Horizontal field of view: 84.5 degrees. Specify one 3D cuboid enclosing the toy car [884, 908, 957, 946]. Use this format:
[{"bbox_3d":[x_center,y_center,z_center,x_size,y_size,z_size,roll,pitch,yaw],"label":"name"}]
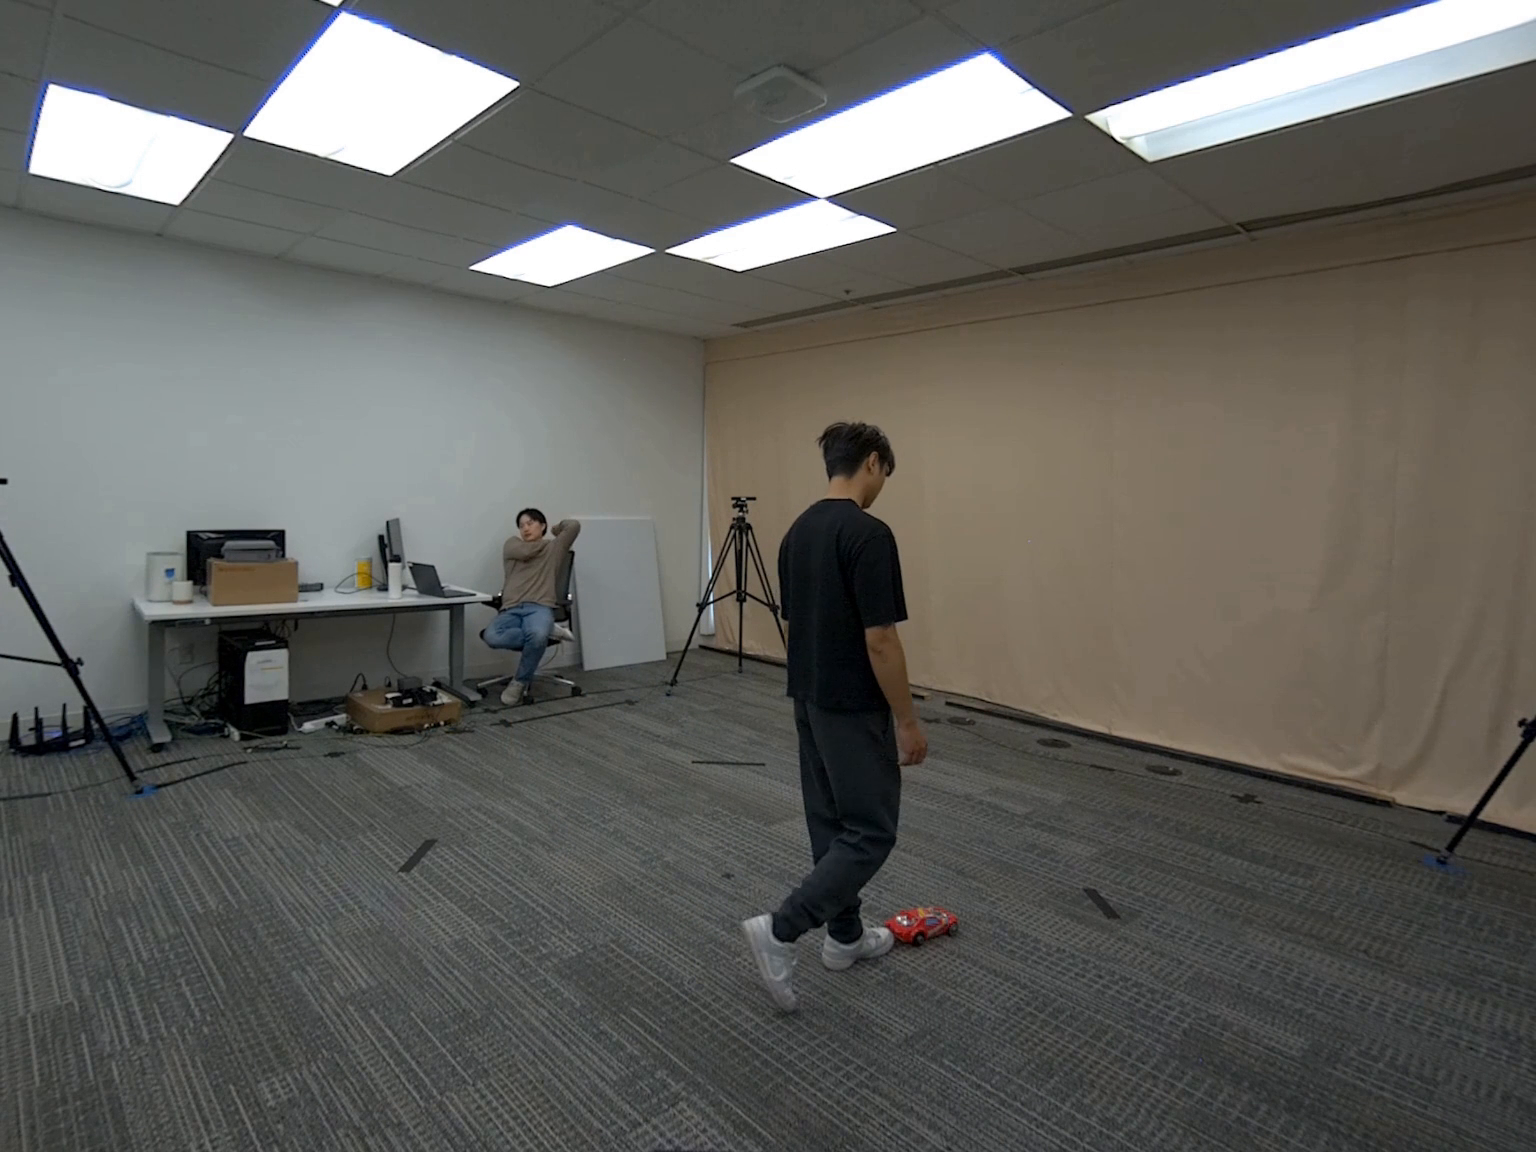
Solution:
[{"bbox_3d":[0.485,1.126,2.710,0.248,0.083,0.133,12,0,-30],"label":"toy car"}]
